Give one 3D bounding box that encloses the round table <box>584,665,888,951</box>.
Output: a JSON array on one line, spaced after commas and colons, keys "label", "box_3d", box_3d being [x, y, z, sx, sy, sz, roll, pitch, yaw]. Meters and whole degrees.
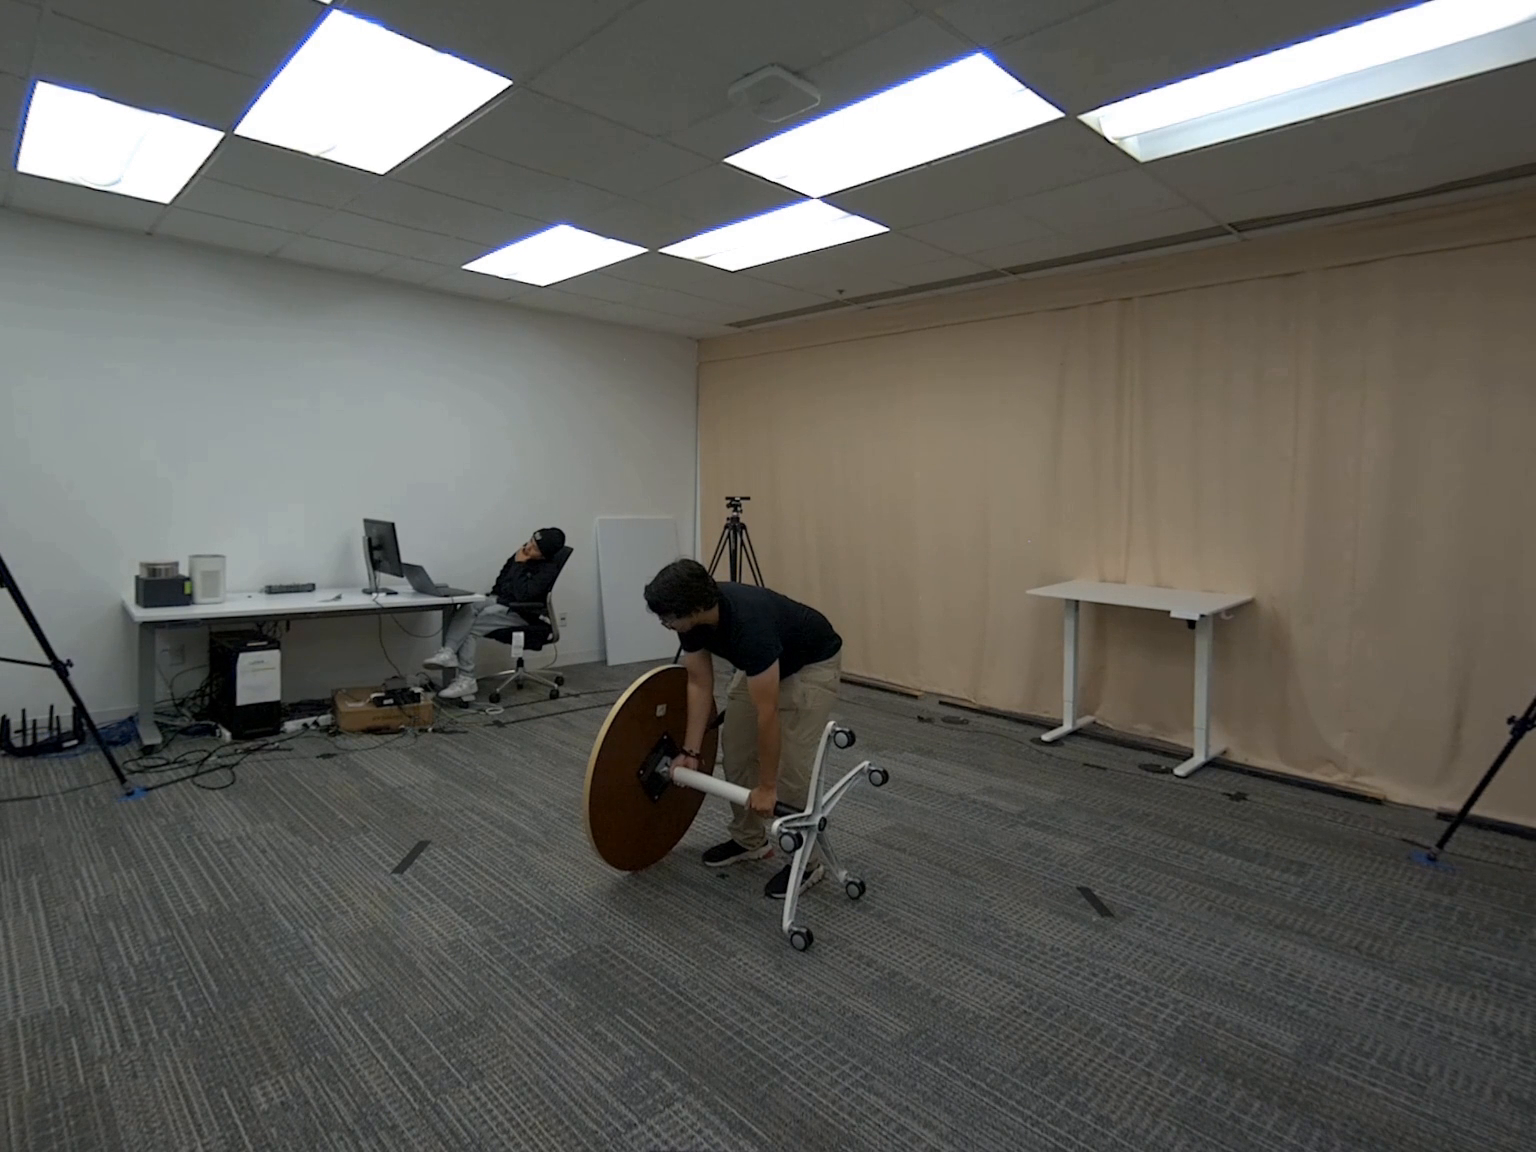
[{"label": "round table", "box_3d": [-0.095, 0.762, 2.935, 0.805, 0.782, 0.769, 8, 7, 32]}]
